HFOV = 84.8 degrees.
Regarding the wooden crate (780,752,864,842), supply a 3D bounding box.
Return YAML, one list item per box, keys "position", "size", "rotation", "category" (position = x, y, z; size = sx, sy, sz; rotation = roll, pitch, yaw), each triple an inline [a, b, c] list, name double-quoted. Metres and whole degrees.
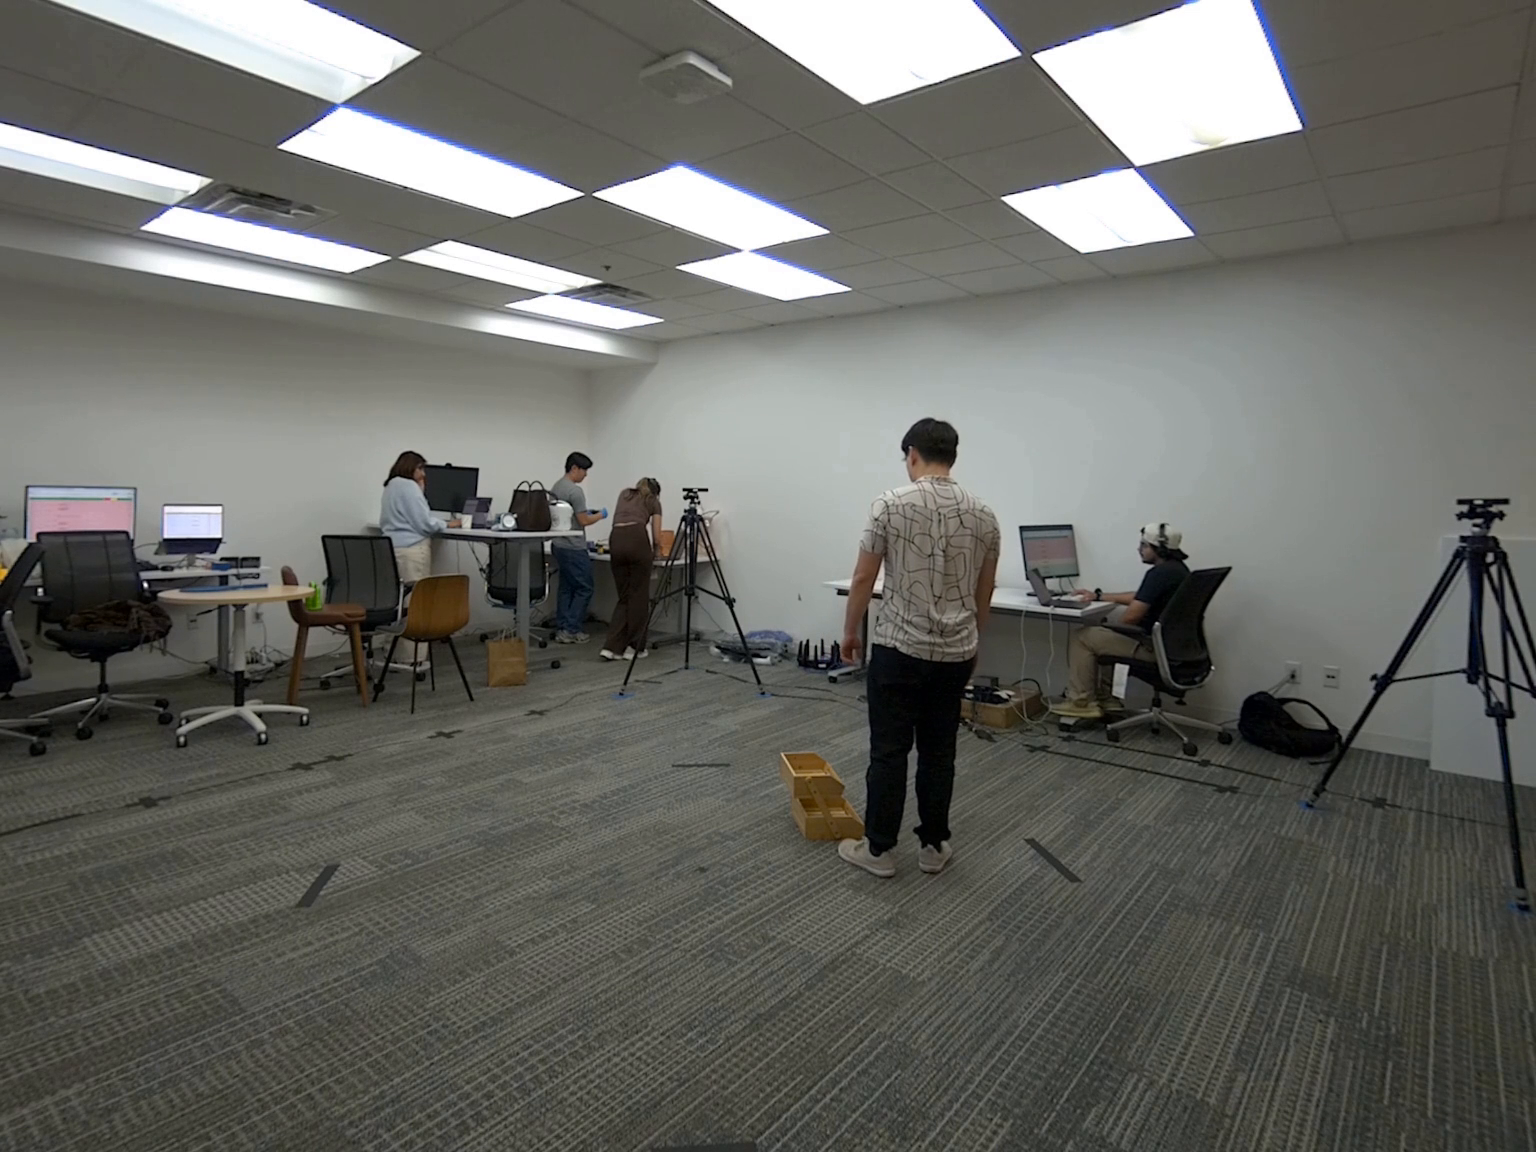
- position: [0.224, 0.903, 3.550]
  size: [0.299, 0.272, 0.329]
  rotation: [1, 4, -10]
  category: "wooden crate"
